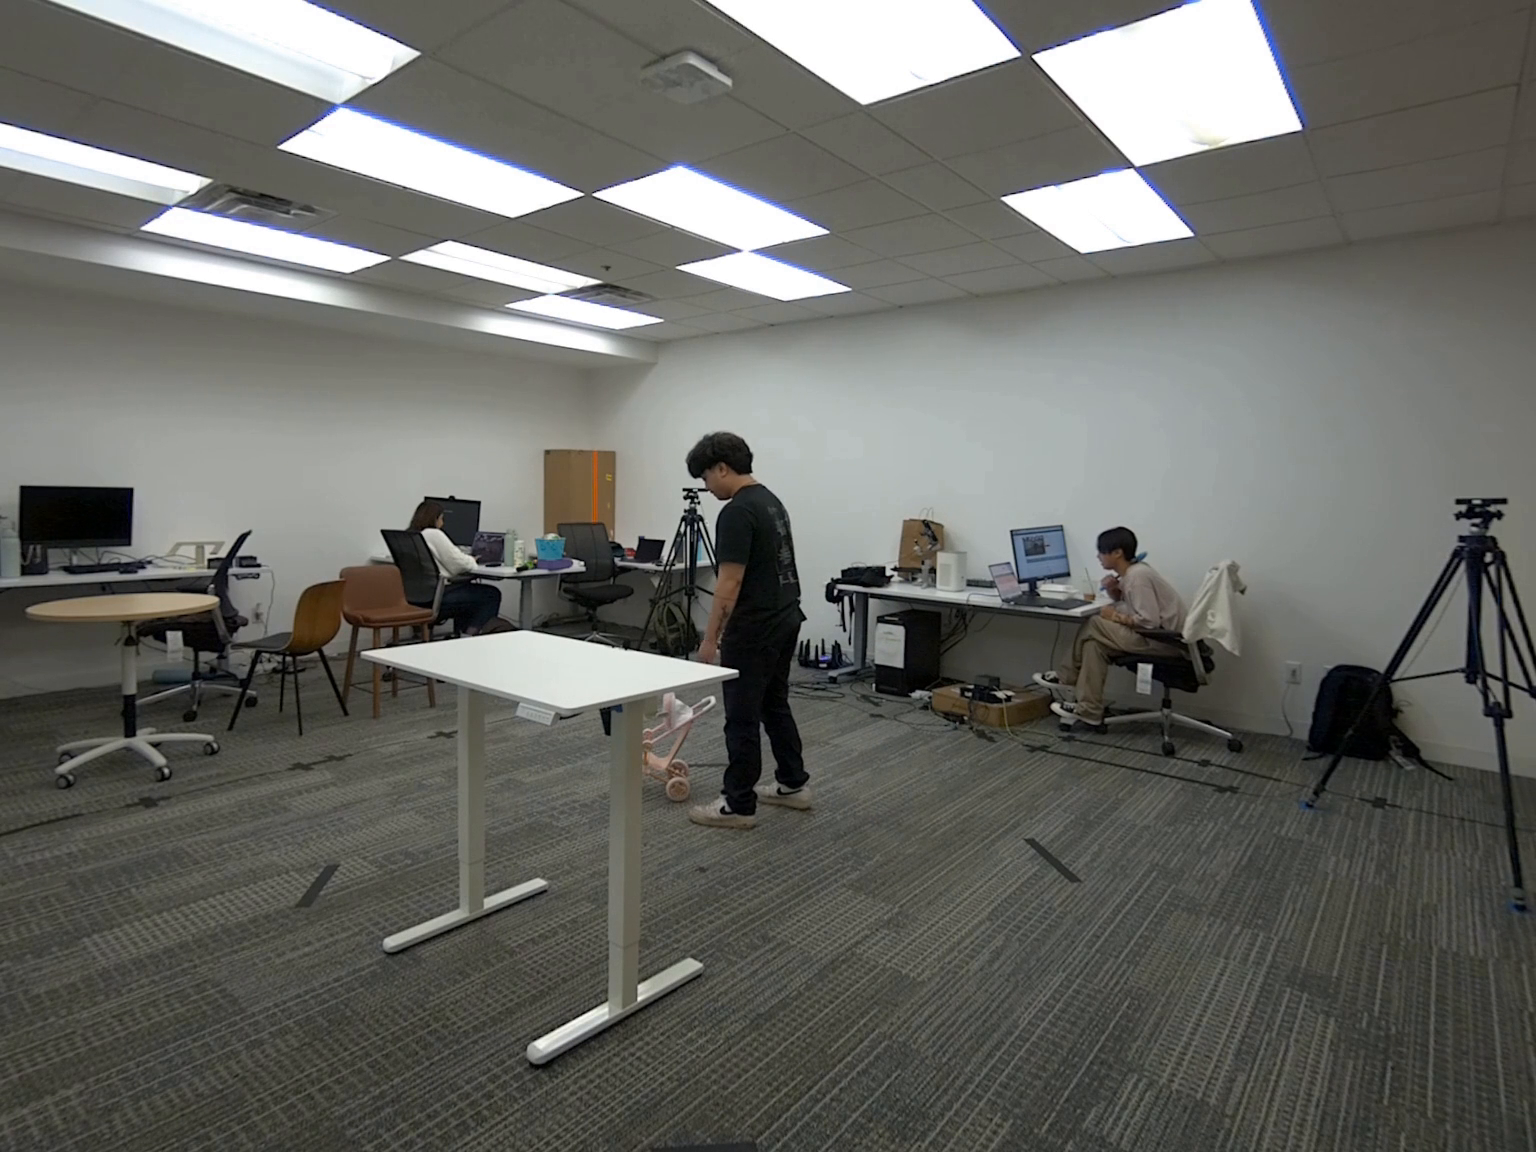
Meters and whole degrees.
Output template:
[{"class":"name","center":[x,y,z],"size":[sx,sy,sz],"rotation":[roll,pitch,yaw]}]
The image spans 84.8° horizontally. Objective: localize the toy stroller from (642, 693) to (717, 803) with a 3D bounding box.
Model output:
[{"class":"toy stroller","center":[-0.489,0.768,3.914],"size":[0.342,0.534,0.281],"rotation":[16,2,0]}]
